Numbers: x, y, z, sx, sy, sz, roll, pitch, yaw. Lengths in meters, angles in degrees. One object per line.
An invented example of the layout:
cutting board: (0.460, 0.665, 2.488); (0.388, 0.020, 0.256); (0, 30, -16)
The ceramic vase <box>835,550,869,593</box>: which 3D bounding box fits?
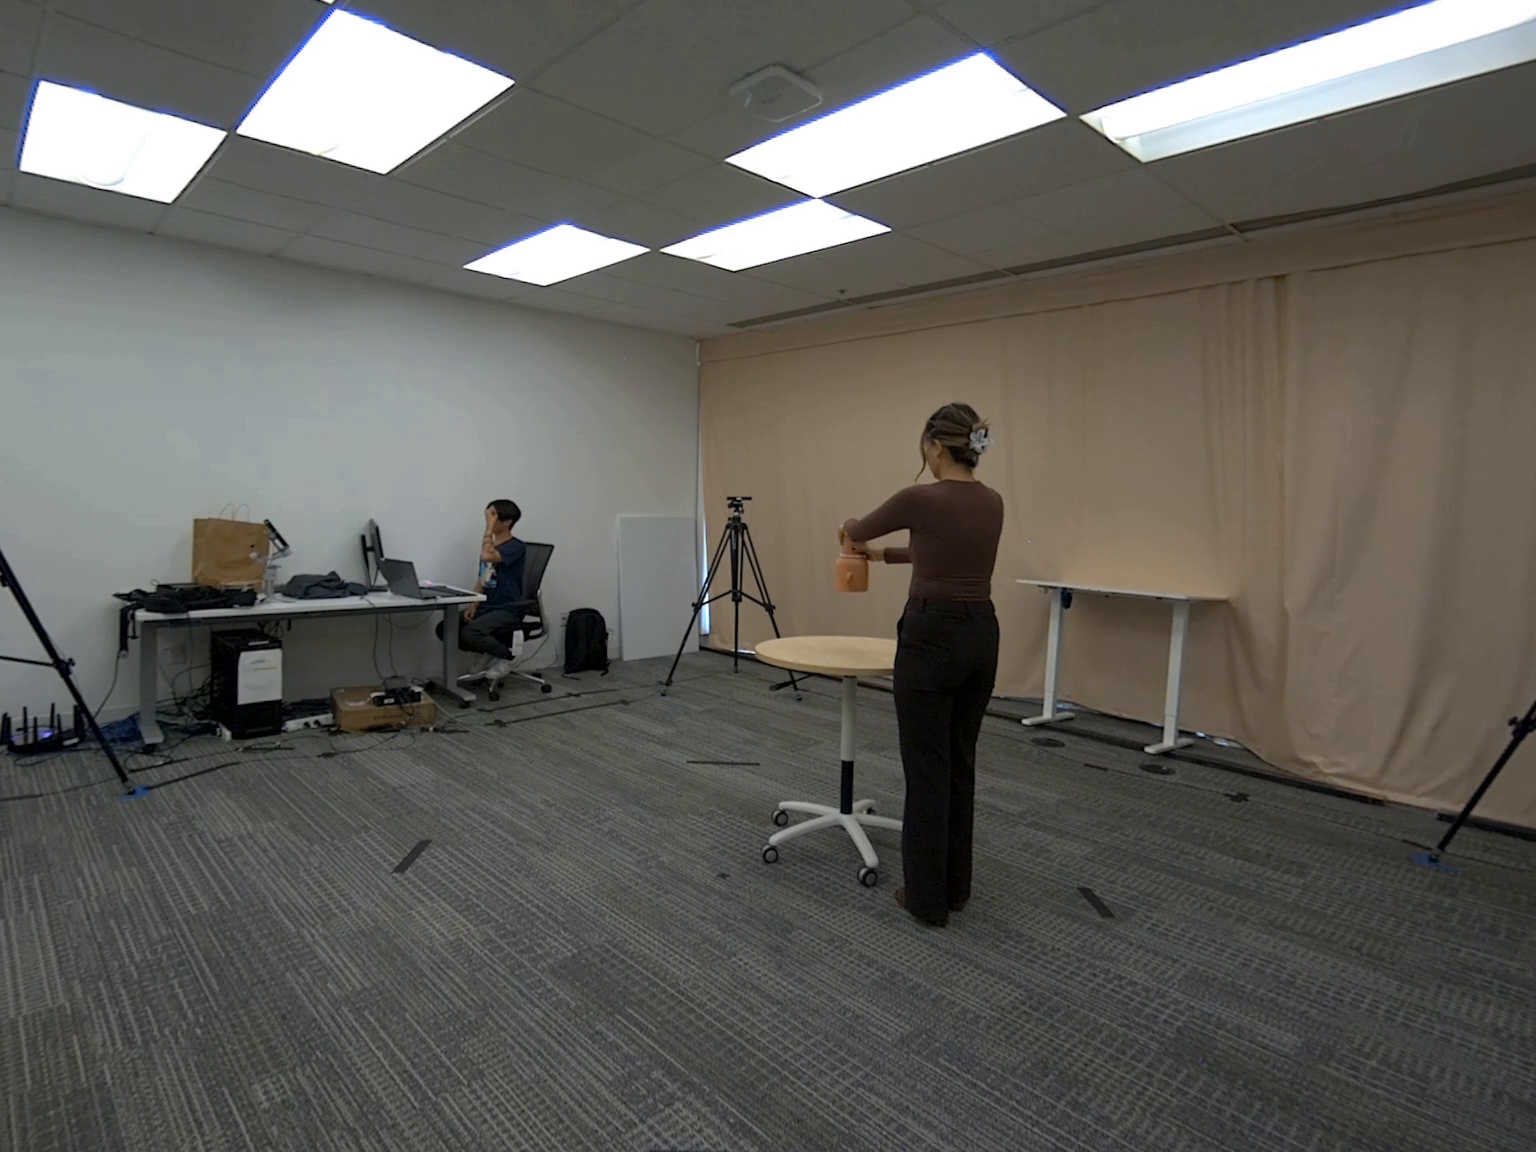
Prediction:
ceramic vase: (0.325, -0.054, 3.334); (0.132, 0.219, 0.162); (-1, 8, -26)
